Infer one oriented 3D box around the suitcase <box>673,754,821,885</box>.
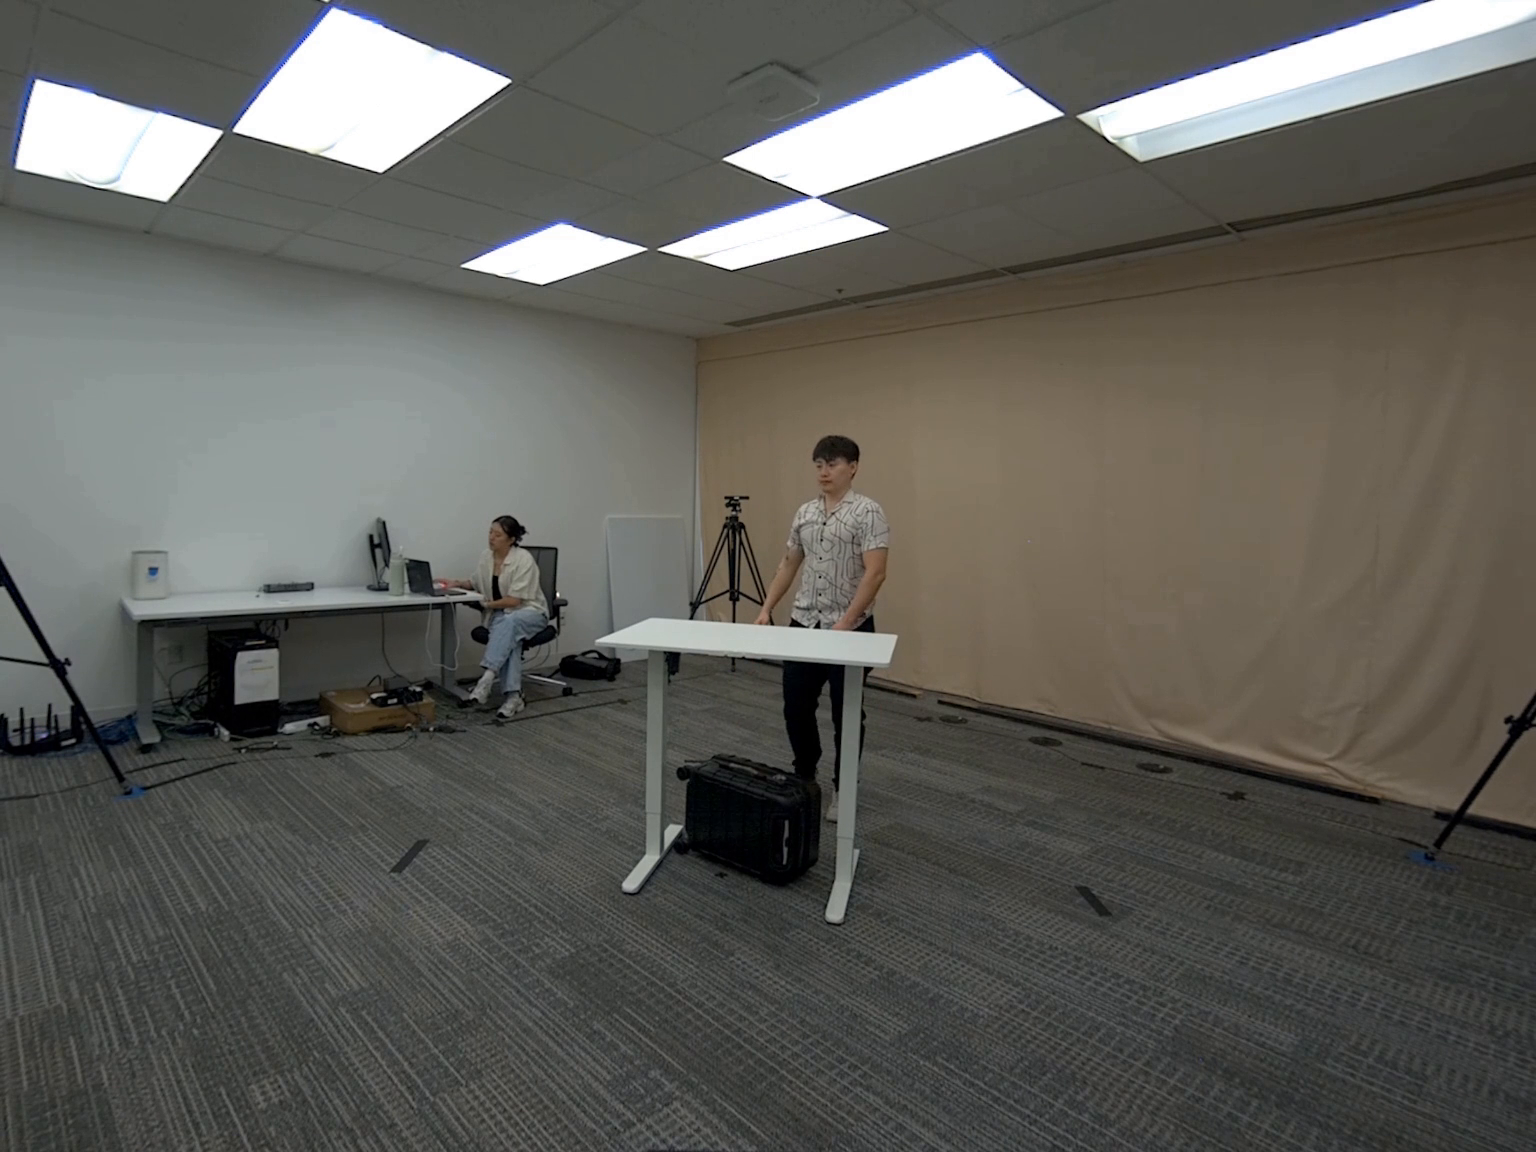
[{"bbox_3d":[-0.075,0.899,3.195,0.563,0.374,0.243,4,5,39],"label":"suitcase"}]
